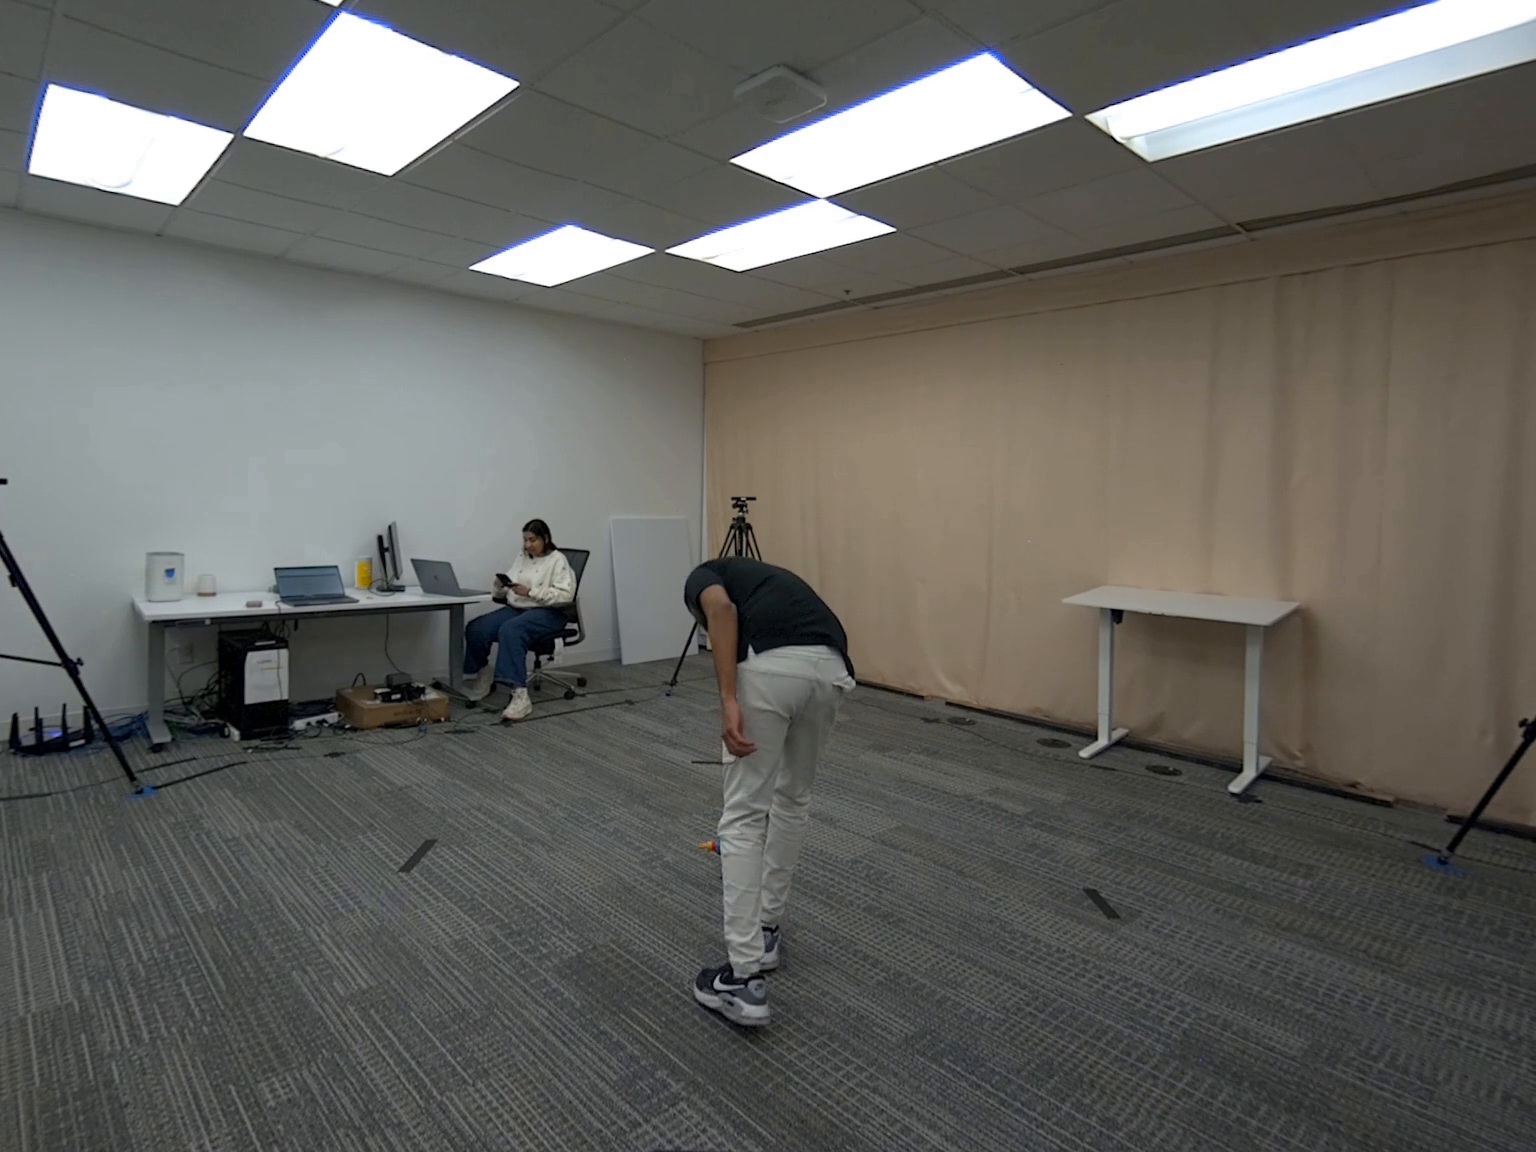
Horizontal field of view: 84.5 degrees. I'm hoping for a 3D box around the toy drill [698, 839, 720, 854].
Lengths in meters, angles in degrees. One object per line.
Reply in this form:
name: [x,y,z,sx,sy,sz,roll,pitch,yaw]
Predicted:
toy drill: [-0.174,1.029,3.086,0.170,0.146,0.061,2,2,0]
